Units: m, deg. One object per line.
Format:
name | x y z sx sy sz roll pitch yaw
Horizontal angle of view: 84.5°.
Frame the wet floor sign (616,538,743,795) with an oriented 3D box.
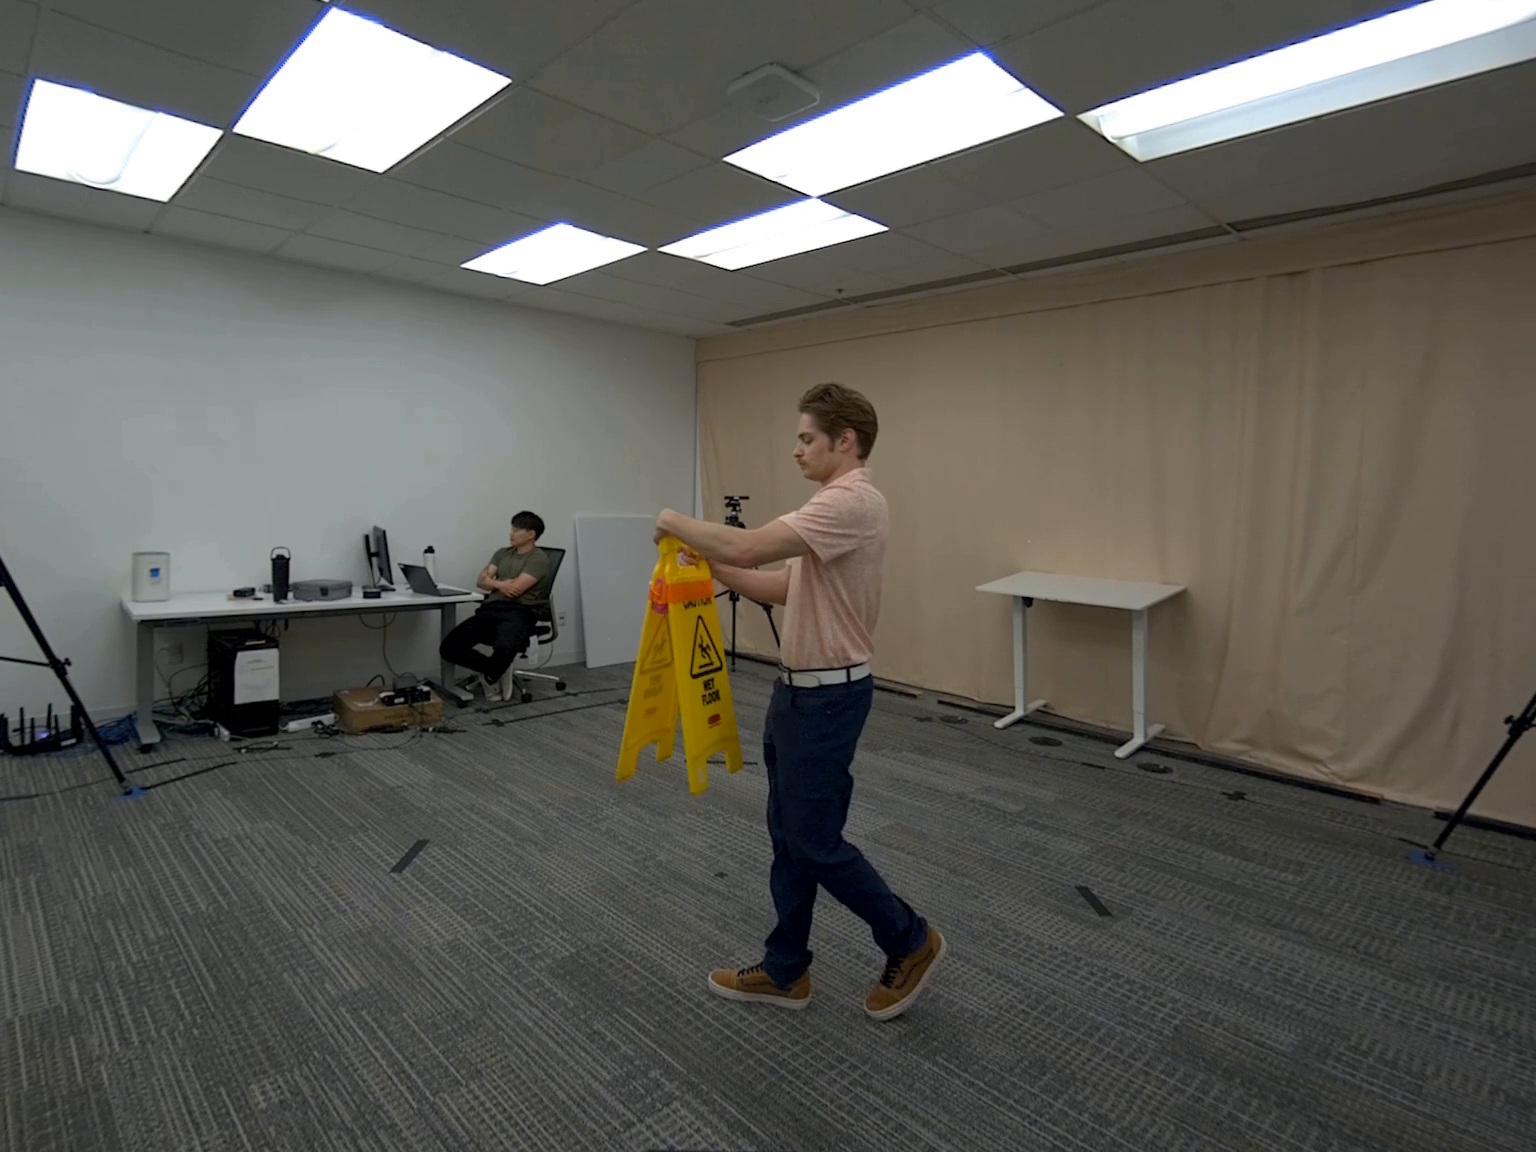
wet floor sign | -0.240 0.217 2.276 0.295 0.646 0.277 0 0 26
